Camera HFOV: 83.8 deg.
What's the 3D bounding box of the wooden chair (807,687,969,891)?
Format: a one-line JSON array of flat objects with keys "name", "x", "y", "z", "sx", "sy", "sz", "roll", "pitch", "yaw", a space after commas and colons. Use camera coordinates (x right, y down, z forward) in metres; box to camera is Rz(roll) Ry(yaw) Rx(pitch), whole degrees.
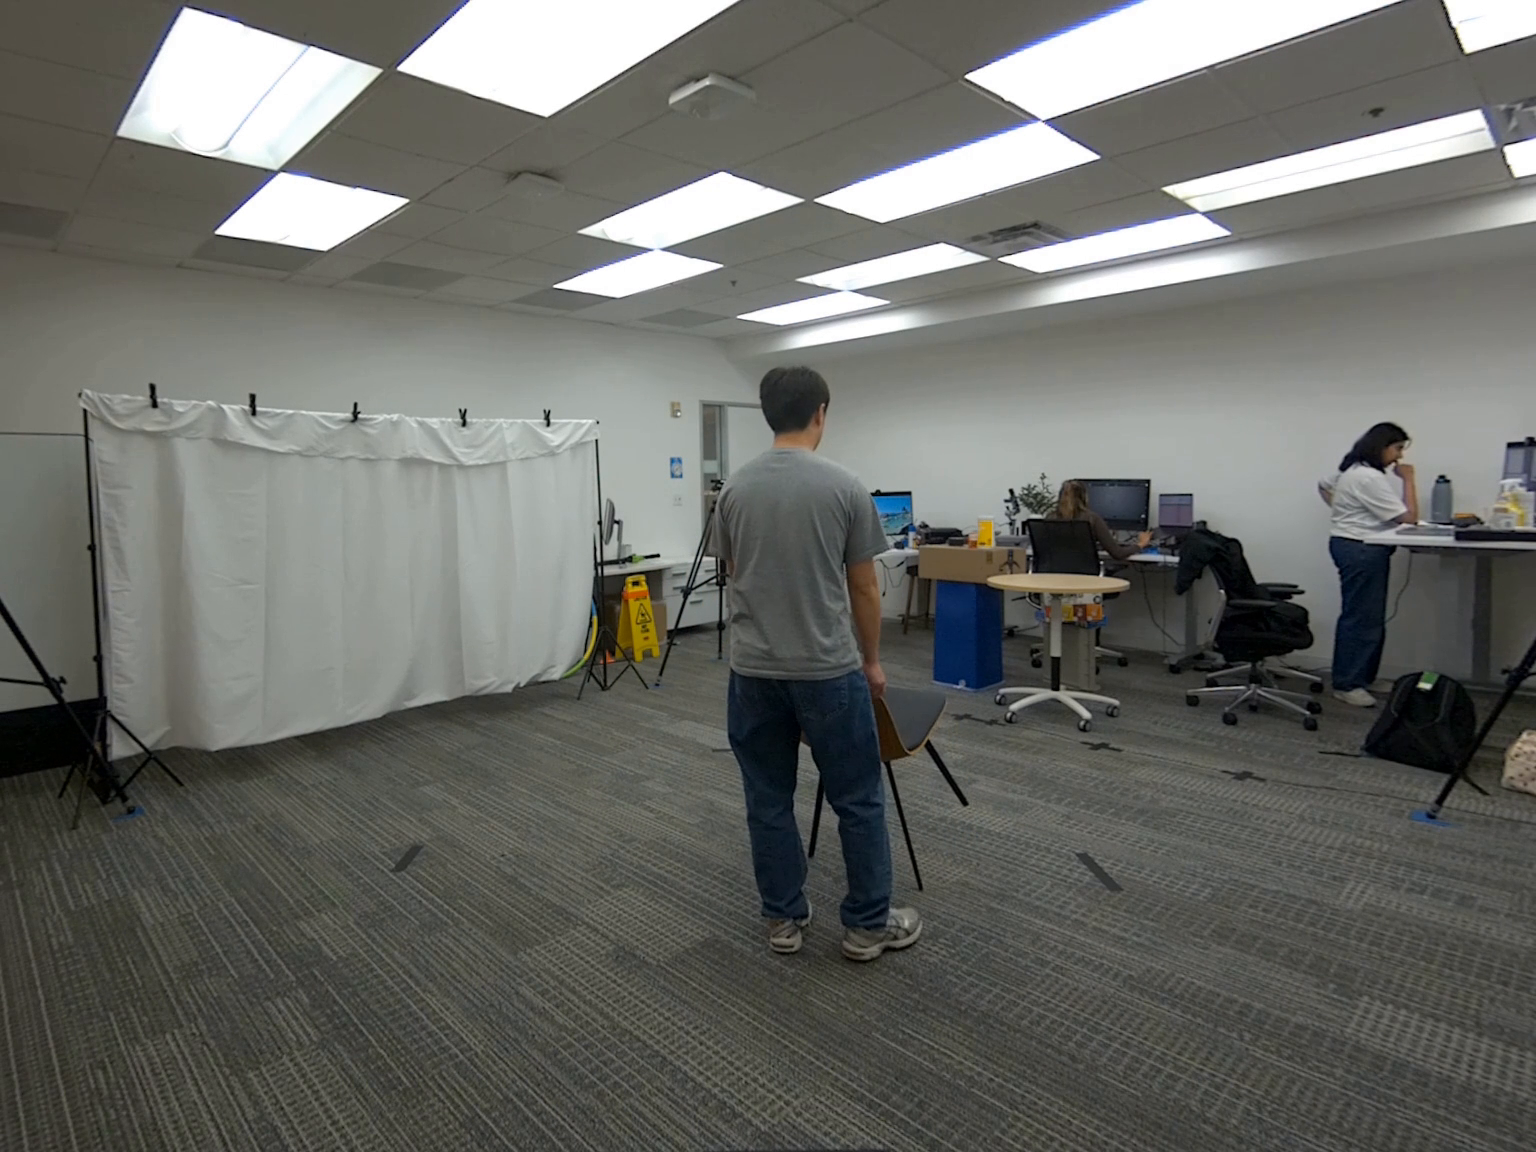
[{"name": "wooden chair", "x": 0.363, "y": 0.565, "z": 3.042, "sx": 0.492, "sy": 0.855, "sz": 0.521, "roll": 2, "pitch": 31, "yaw": 36}]
